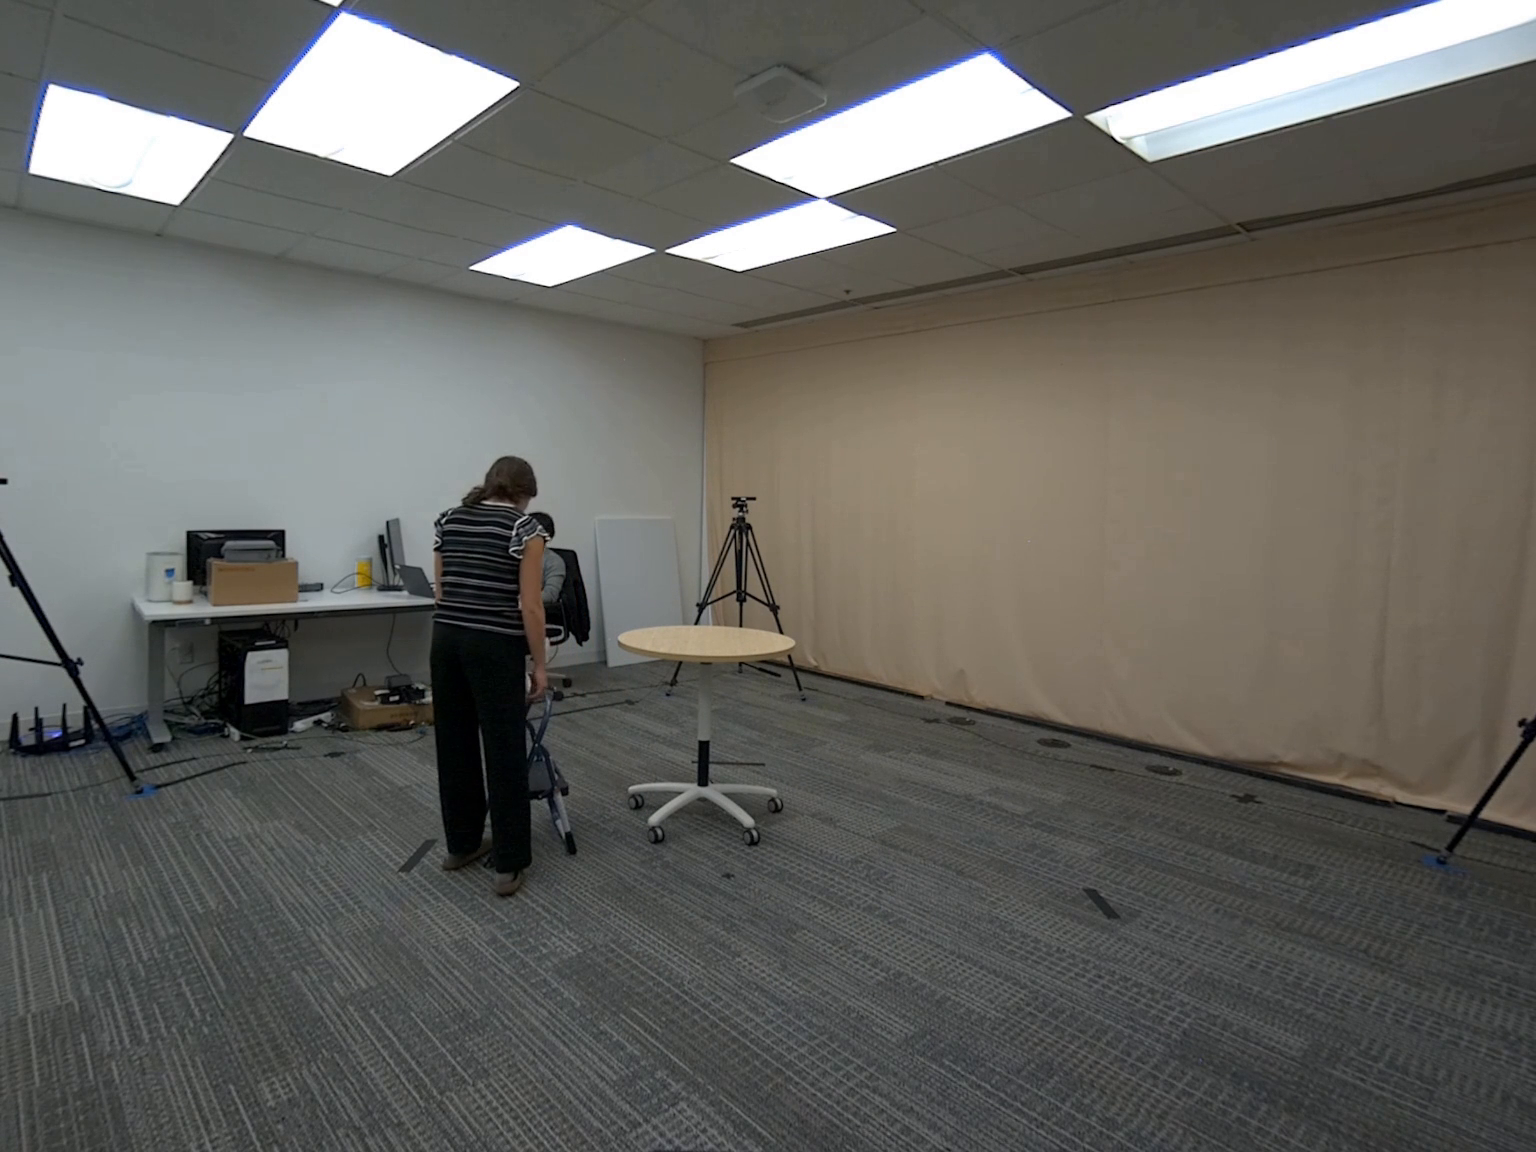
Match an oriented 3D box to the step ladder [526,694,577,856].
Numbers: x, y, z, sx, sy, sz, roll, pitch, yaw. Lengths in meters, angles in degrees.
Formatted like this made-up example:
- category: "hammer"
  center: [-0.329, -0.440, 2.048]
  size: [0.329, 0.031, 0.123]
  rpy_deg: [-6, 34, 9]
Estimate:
- category: "step ladder"
  center: [-0.976, 0.766, 3.372]
  size: [0.343, 0.605, 0.439]
  rpy_deg: [0, 3, -23]
